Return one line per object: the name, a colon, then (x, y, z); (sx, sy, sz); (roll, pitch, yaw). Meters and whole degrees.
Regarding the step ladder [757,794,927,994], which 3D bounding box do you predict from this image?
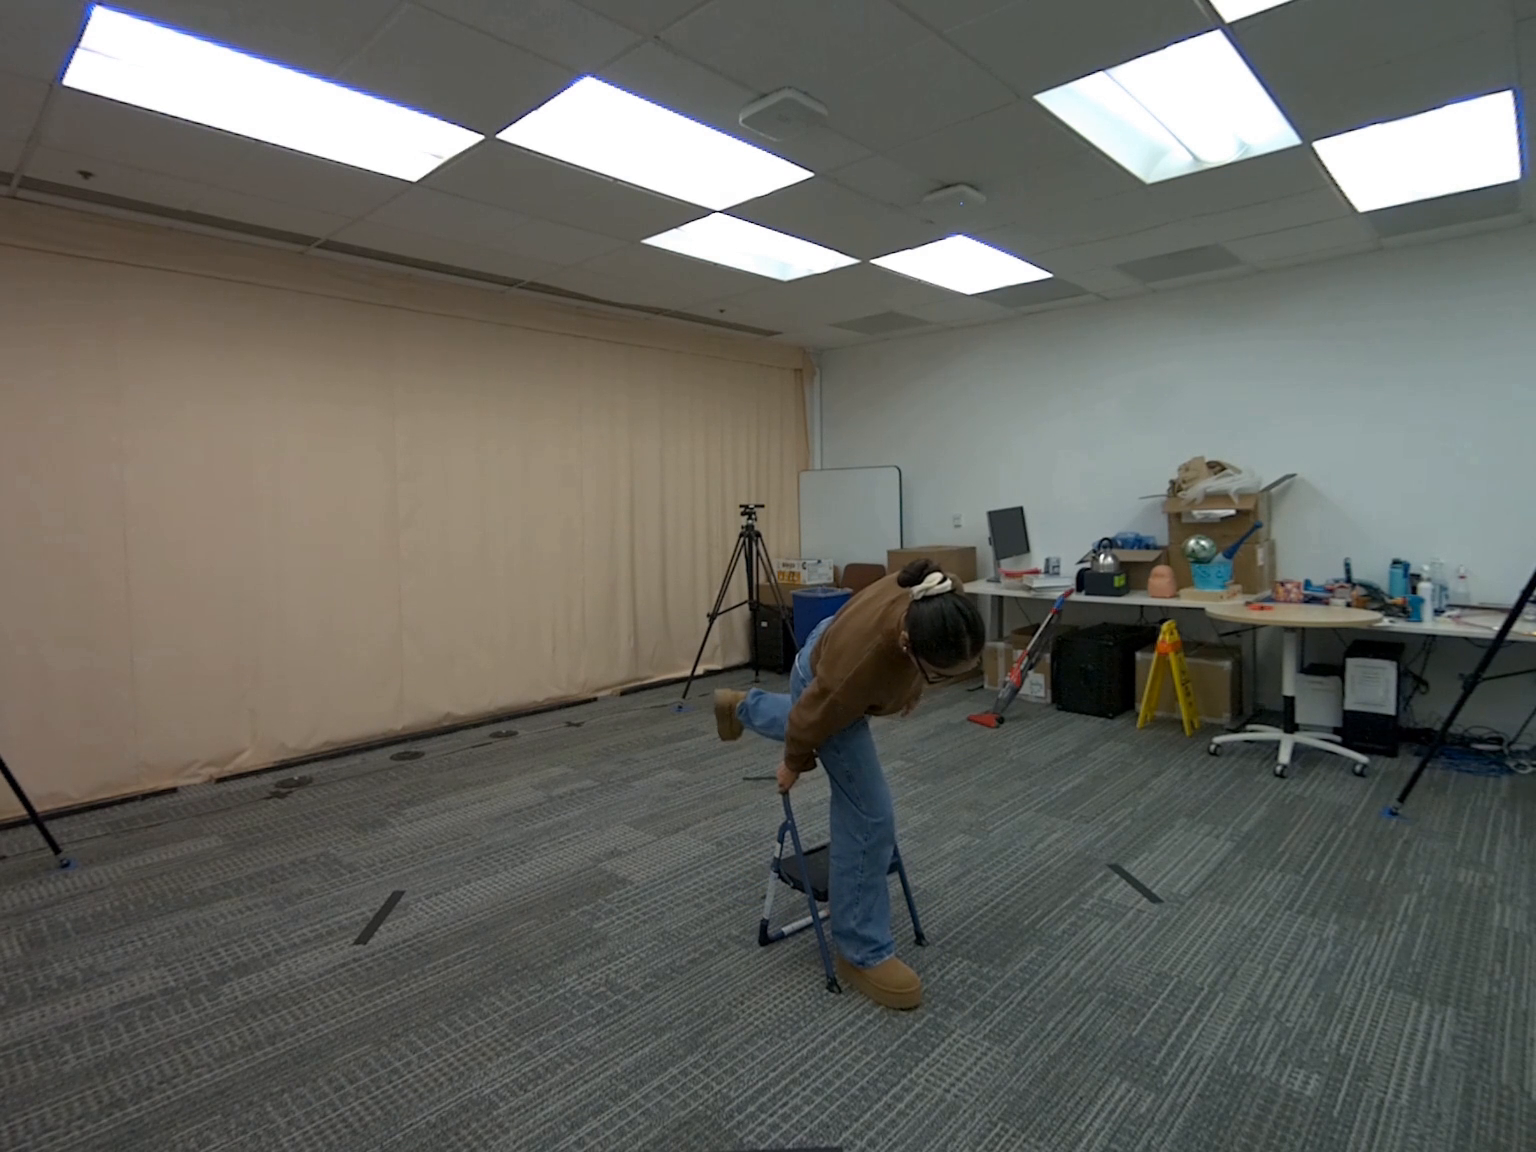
step ladder: (0.235, 0.863, 2.640); (0.418, 0.605, 0.361); (-4, 5, -40)
